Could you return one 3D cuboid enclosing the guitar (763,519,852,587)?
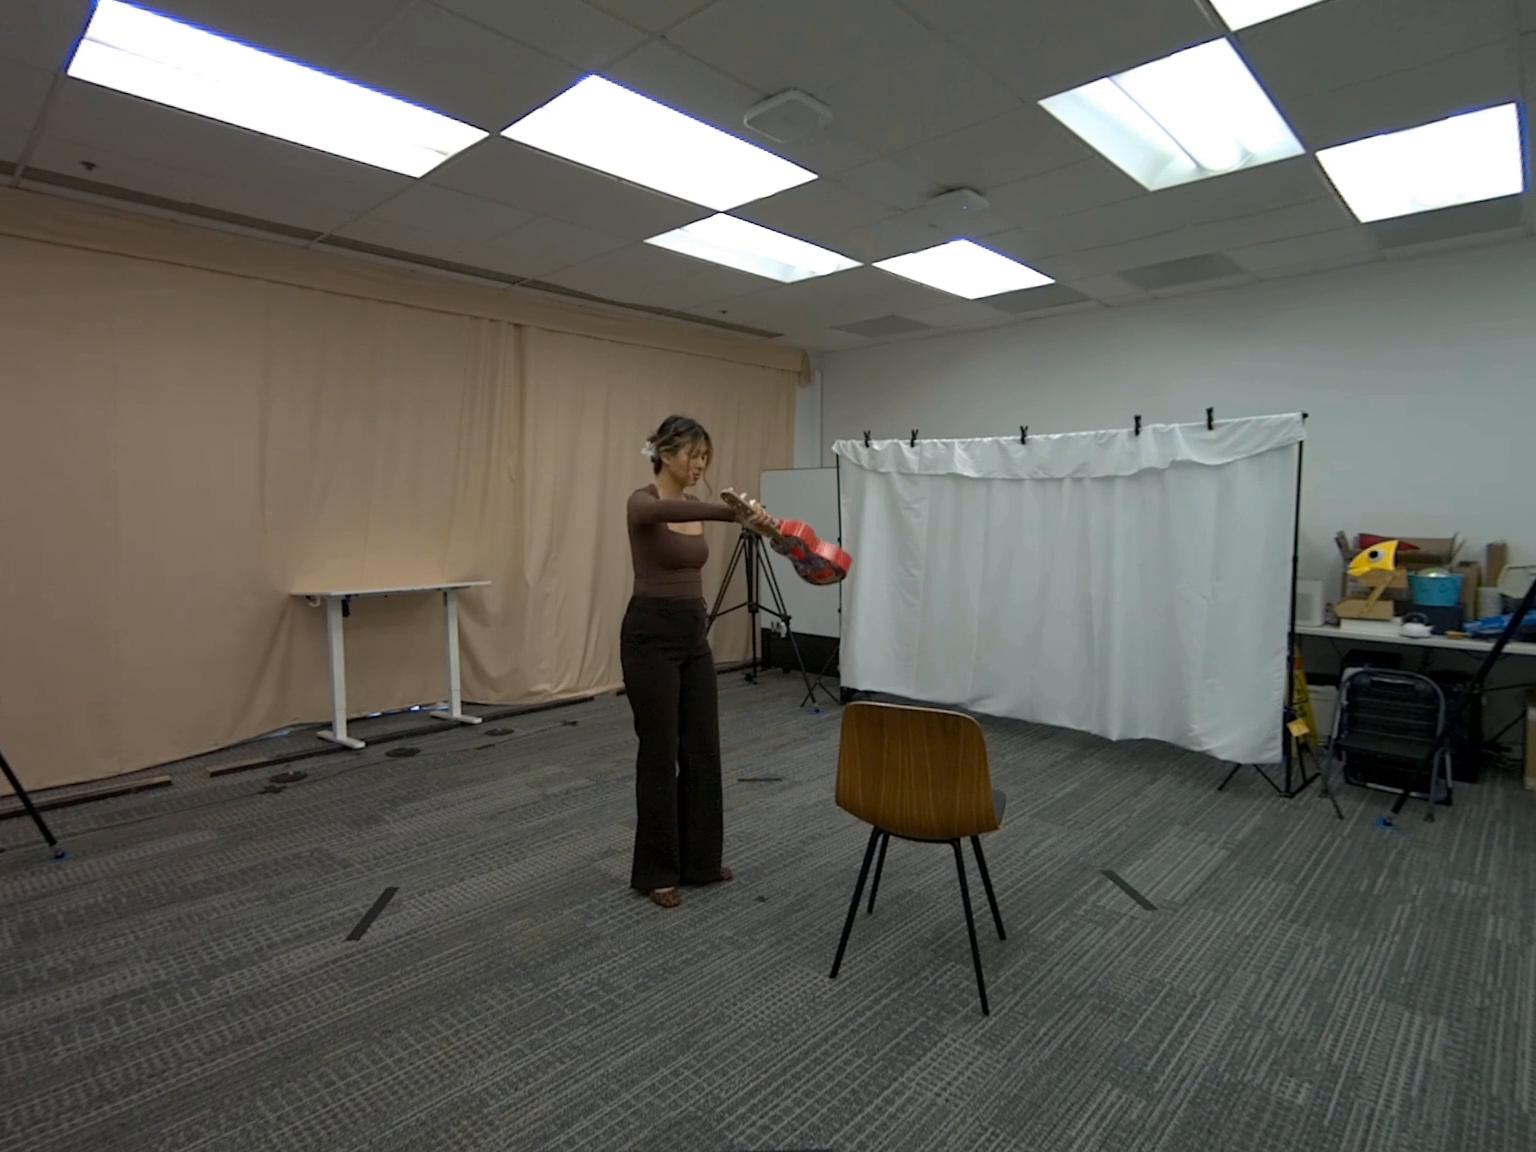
[{"bbox_3d":[0.064,-0.139,2.658,0.198,0.071,0.483,-12,-48,45],"label":"guitar"}]
